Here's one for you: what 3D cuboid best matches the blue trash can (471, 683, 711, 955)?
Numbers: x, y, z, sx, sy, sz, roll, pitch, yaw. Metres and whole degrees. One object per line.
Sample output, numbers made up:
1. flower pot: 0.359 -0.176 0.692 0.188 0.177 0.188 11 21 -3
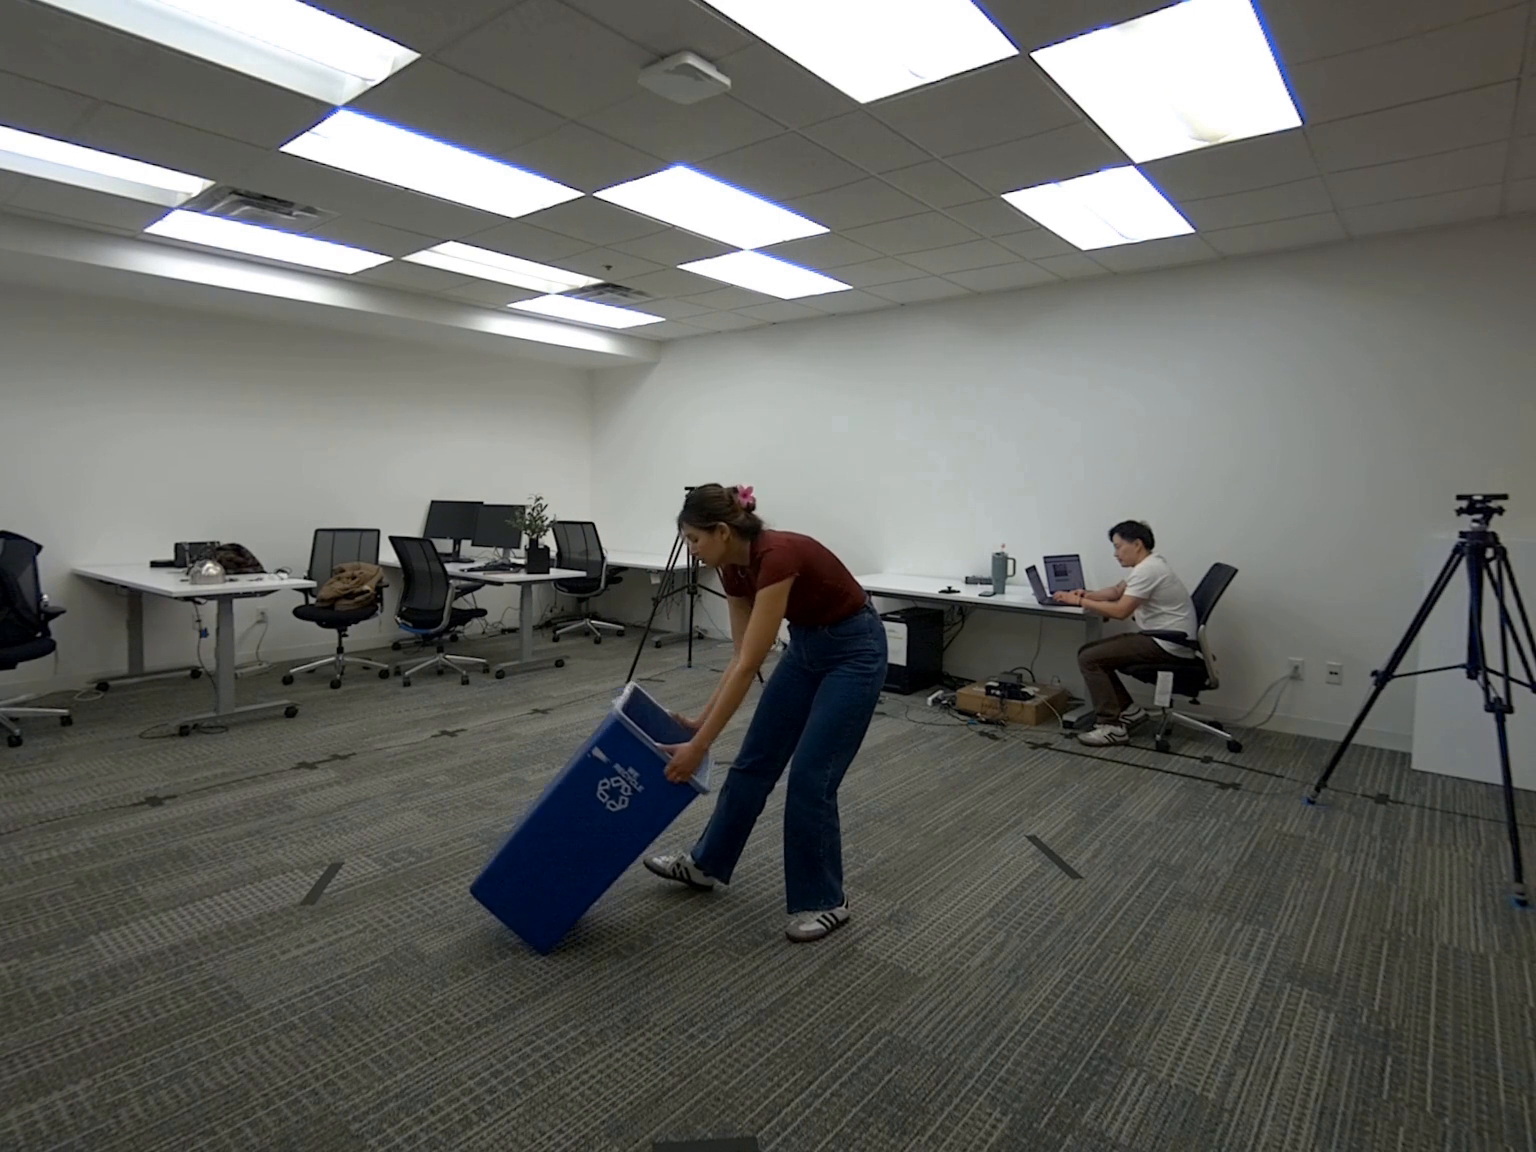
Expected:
1. blue trash can: -0.534 0.744 2.627 0.373 0.713 0.379 41 3 -3
